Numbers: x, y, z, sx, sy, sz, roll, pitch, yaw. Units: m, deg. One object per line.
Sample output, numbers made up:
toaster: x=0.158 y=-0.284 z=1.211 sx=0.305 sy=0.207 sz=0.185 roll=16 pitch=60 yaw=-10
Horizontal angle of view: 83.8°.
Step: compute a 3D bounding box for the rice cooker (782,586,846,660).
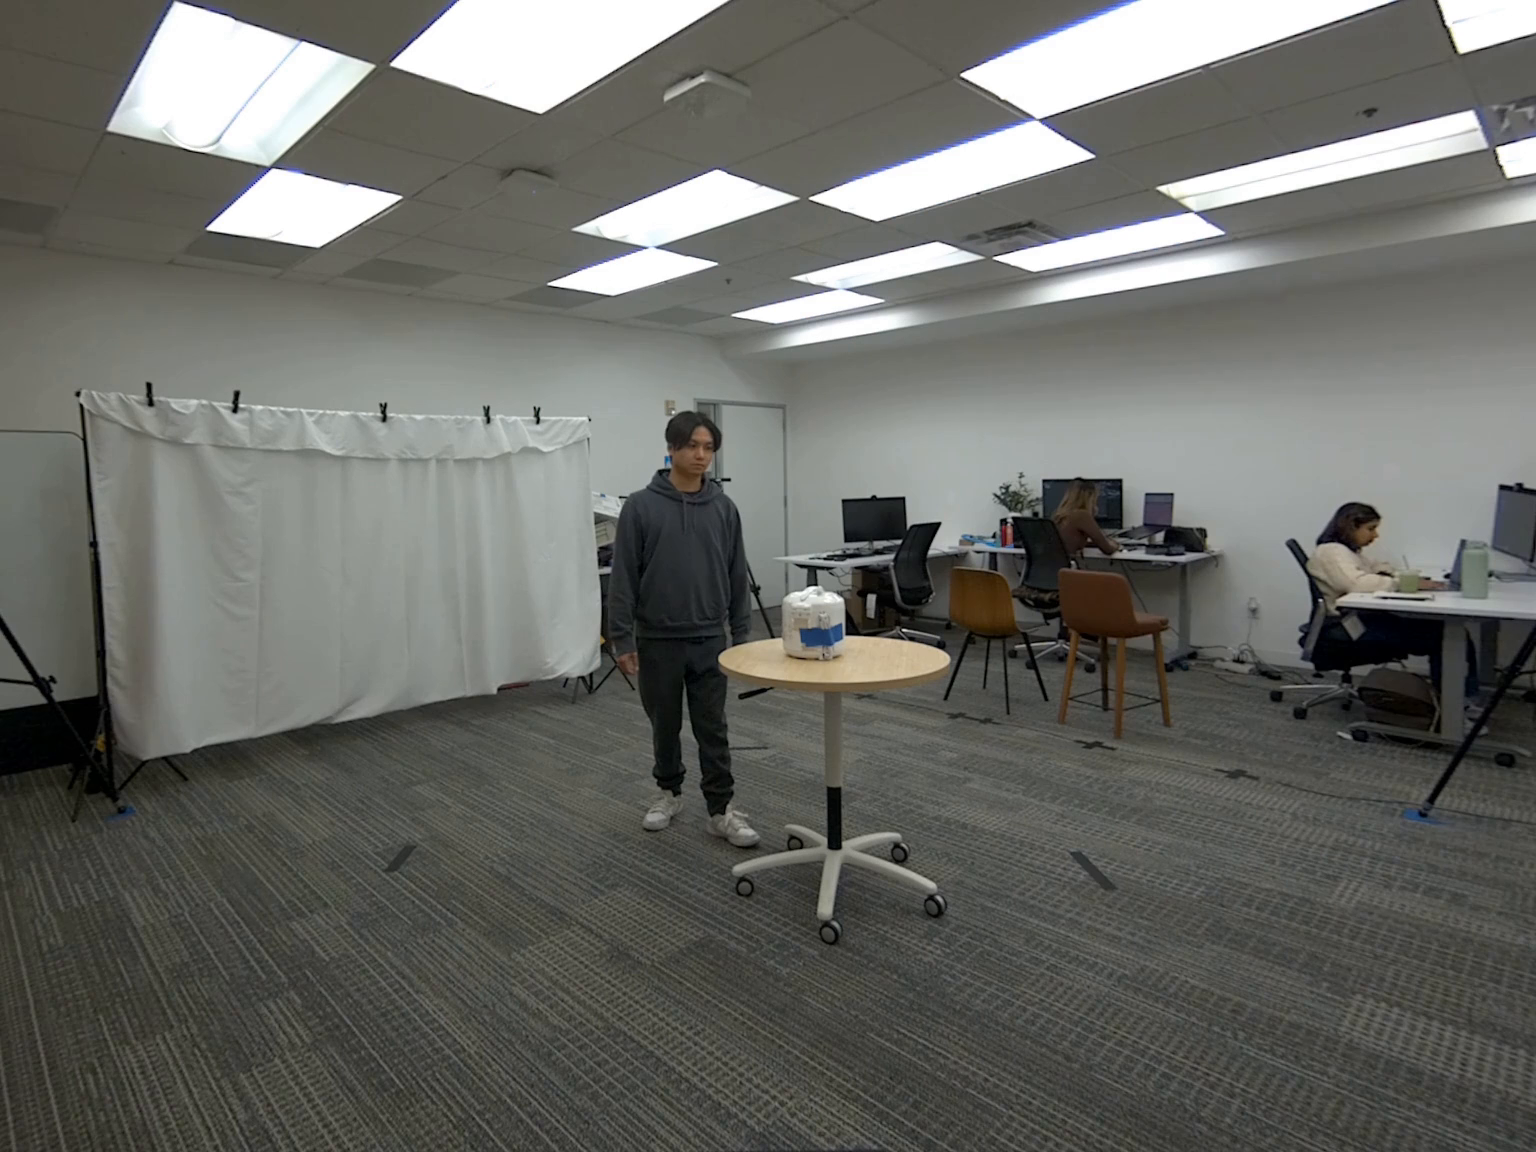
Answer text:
rice cooker: x=0.155 y=0.153 z=2.876 sx=0.223 sy=0.232 sz=0.216 roll=2 pitch=6 yaw=28
